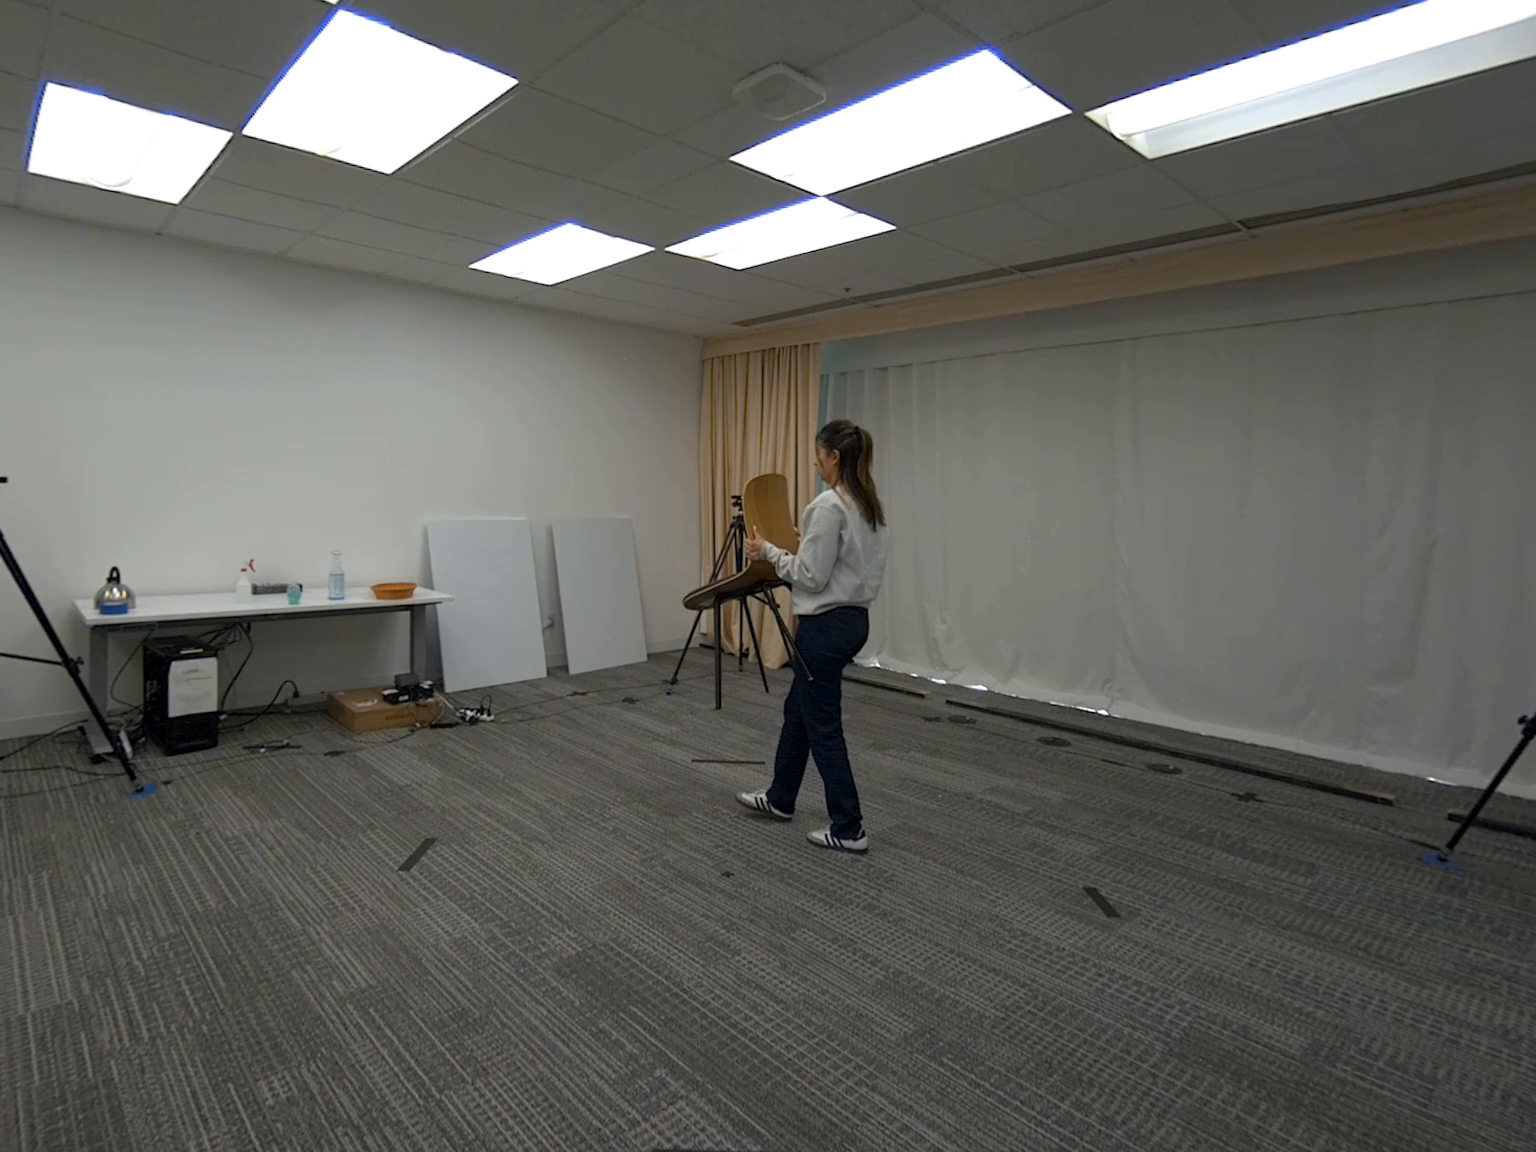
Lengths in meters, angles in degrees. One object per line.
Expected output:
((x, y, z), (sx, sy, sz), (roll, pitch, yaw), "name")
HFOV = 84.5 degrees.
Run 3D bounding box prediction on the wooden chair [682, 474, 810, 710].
((-0.084, 0.066, 3.580), (0.530, 0.883, 0.469), (-19, -7, 28), "wooden chair")
